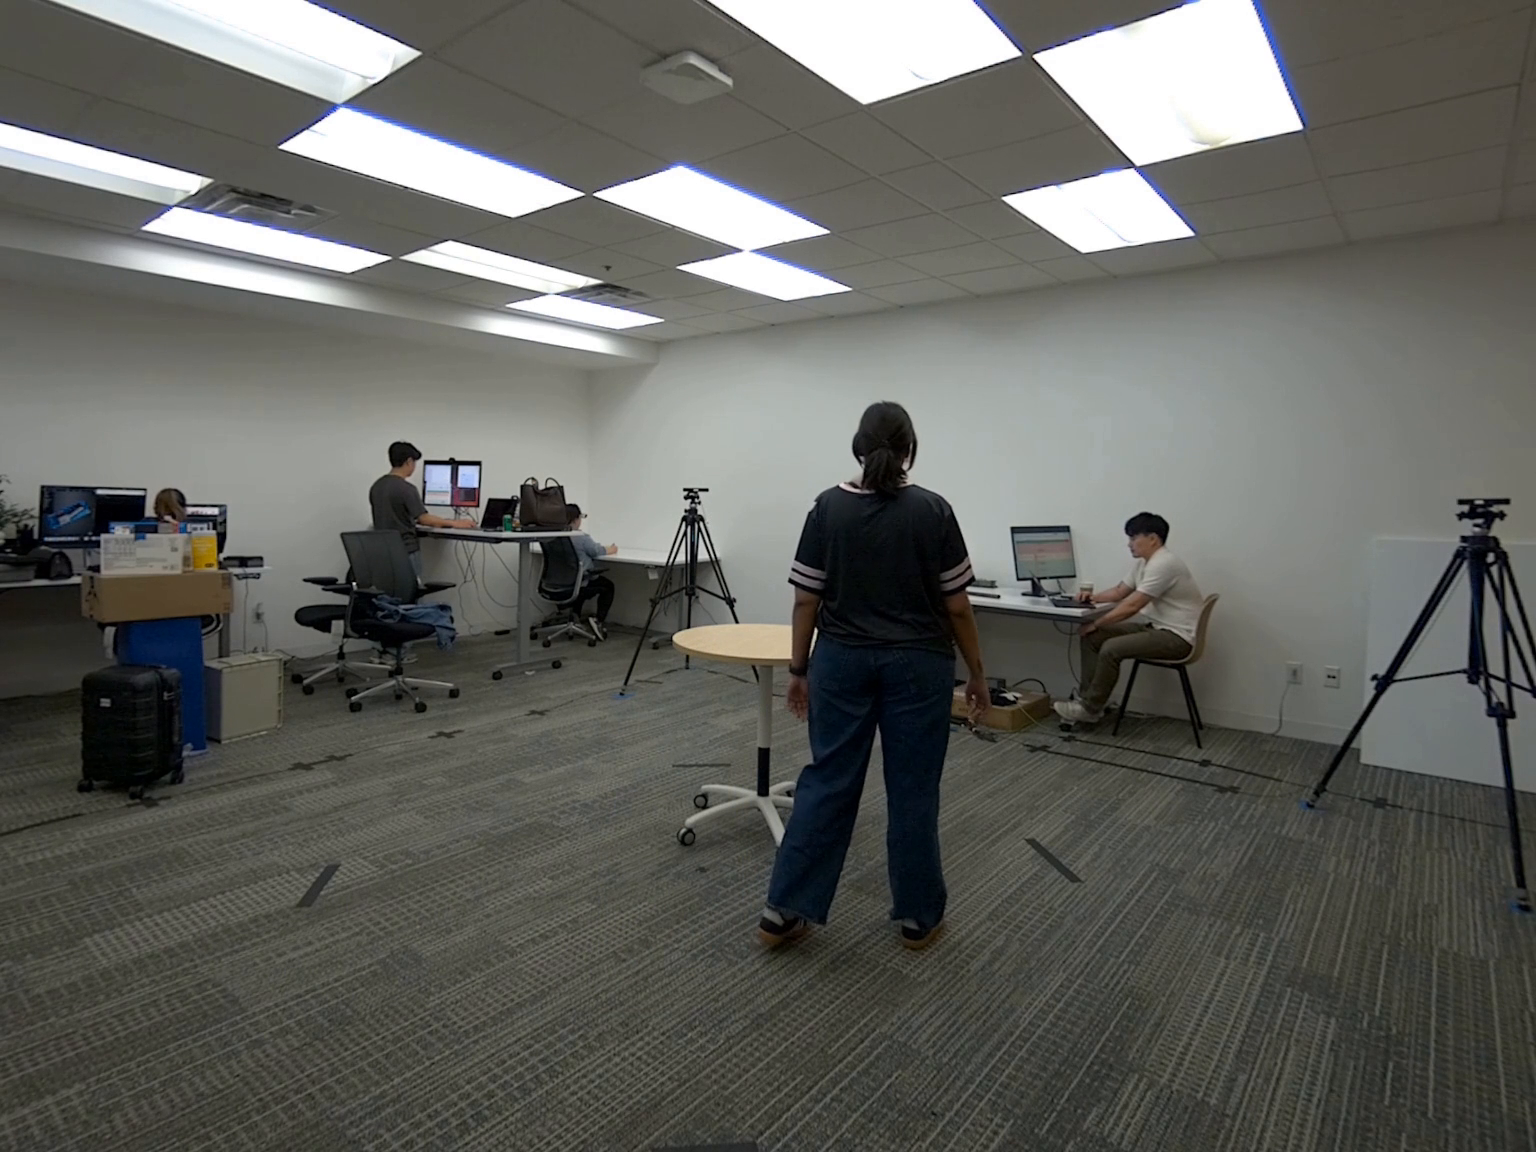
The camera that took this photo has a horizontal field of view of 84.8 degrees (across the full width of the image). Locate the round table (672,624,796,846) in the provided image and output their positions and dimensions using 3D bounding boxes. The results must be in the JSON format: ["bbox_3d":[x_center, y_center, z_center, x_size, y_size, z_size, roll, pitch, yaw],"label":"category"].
[{"bbox_3d":[-0.030,0.649,3.485,0.763,0.791,0.768,1,4,-2],"label":"round table"}]
